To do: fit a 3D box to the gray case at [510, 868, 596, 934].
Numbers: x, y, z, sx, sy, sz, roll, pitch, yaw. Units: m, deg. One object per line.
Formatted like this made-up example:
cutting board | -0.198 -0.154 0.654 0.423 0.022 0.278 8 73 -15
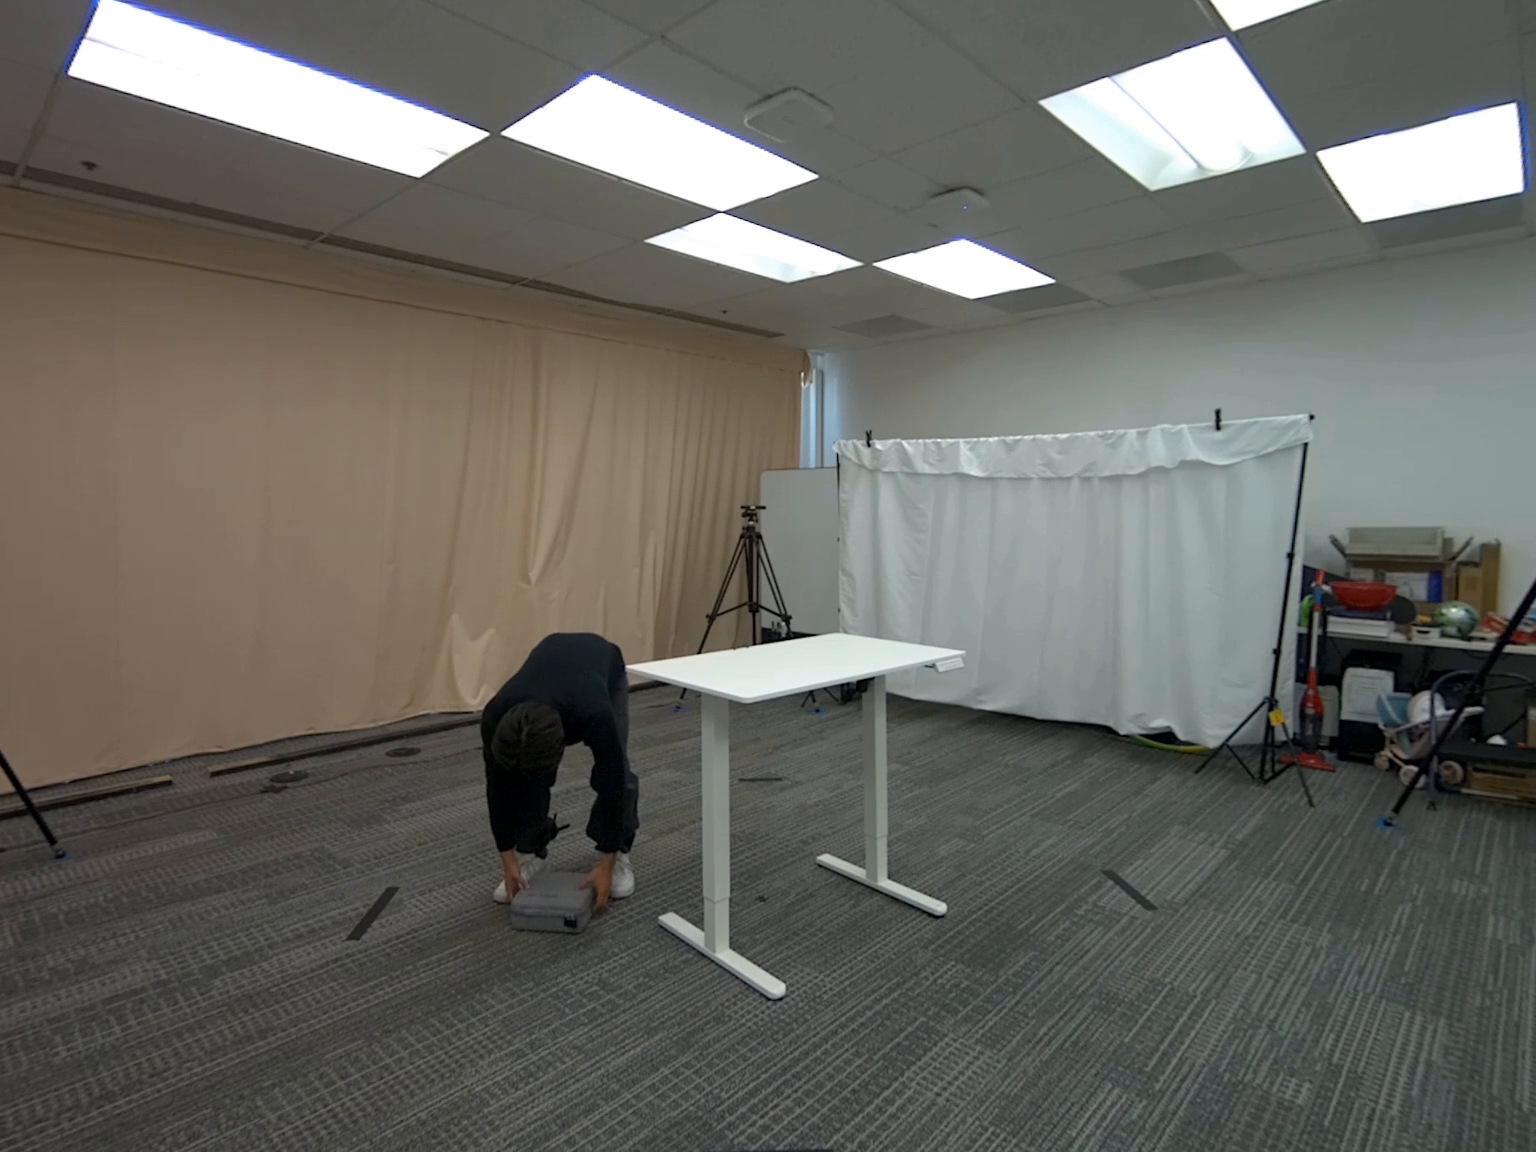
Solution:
gray case | -0.720 1.103 2.865 0.259 0.104 0.259 0 5 6
